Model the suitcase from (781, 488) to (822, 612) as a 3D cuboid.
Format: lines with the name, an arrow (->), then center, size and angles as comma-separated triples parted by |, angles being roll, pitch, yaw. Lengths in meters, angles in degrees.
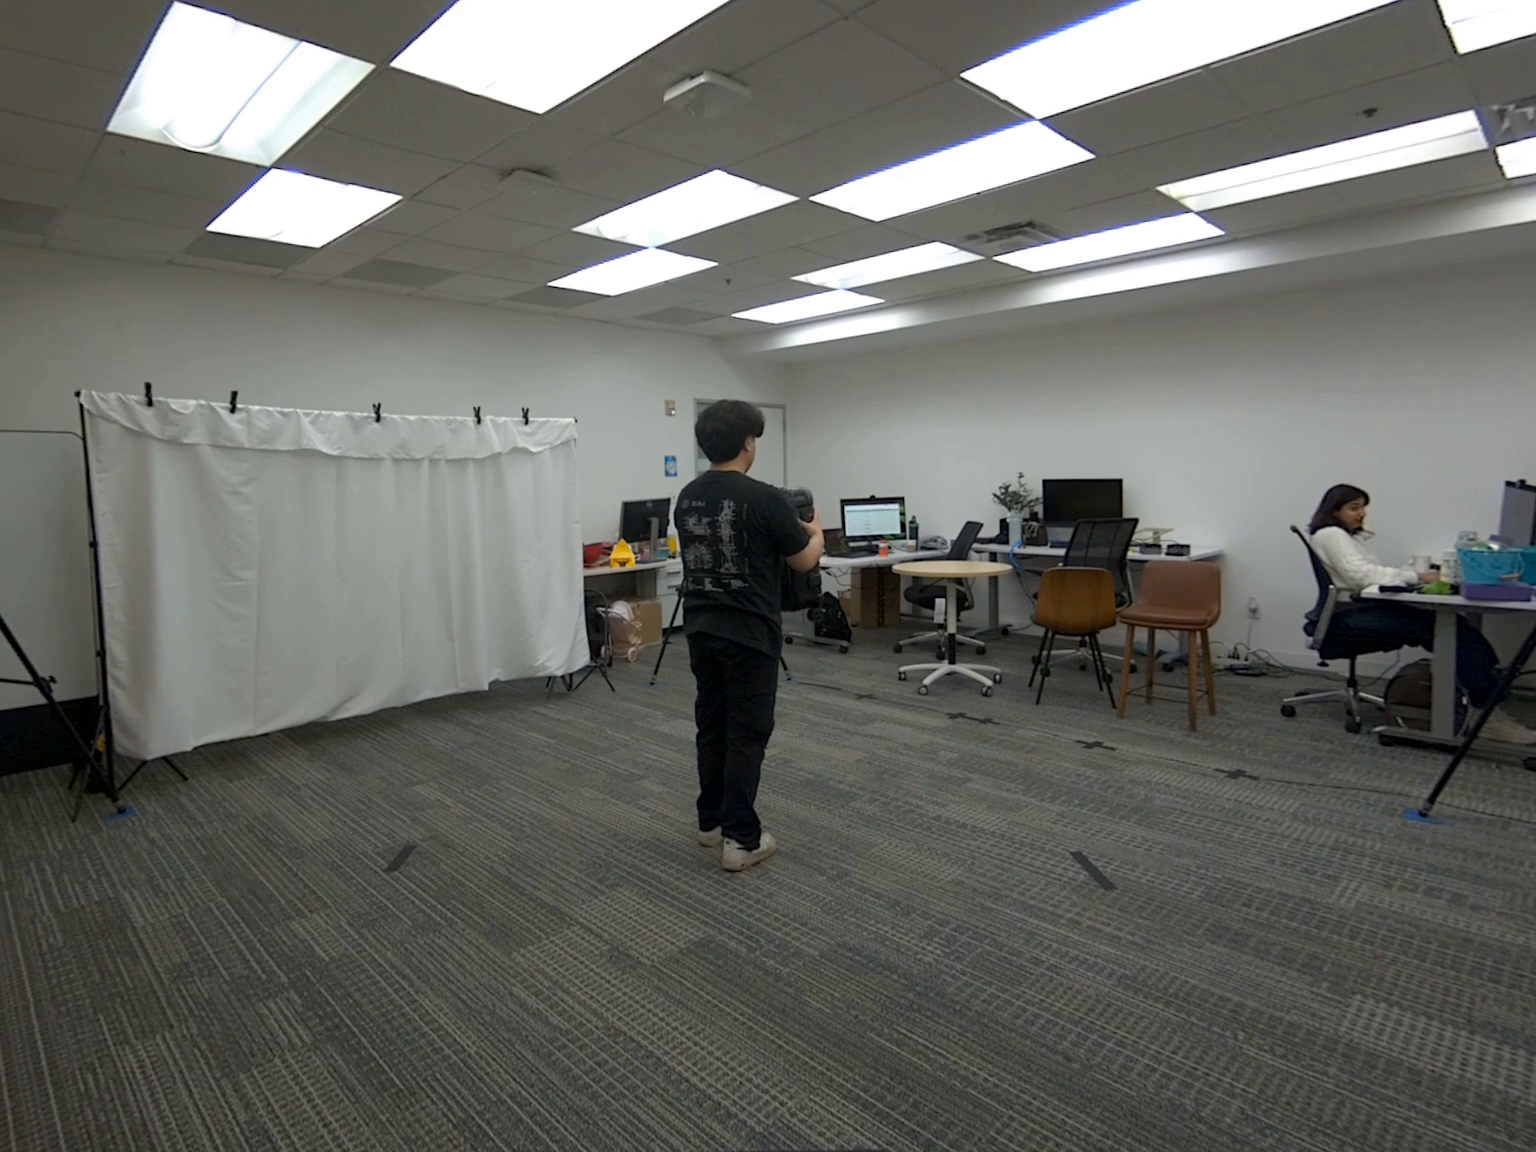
suitcase -> 0.084, -0.106, 3.553 | 0.249, 0.547, 0.375 | -7, 4, 5
